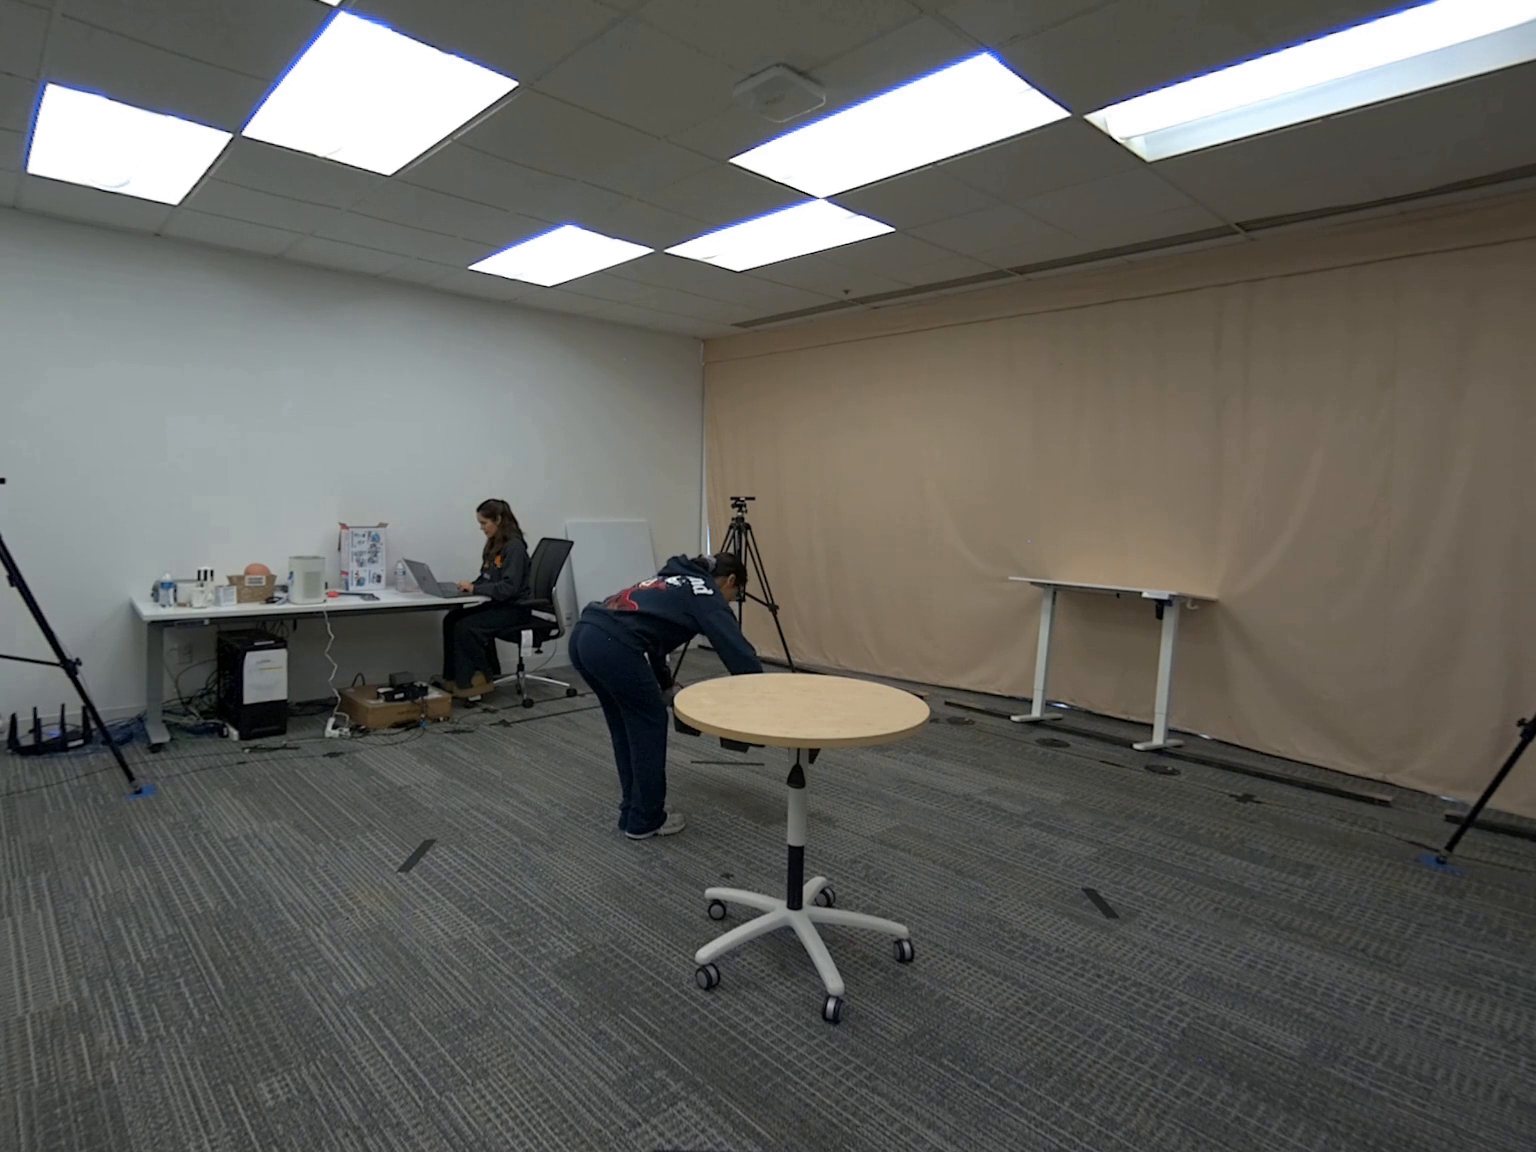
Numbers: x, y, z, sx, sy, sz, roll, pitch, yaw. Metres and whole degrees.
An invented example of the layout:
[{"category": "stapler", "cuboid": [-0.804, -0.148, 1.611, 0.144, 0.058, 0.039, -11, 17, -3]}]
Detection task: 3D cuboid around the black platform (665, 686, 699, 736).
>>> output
[{"category": "black platform", "cuboid": [-0.199, 0.663, 3.754, 0.588, 0.144, 0.824, 18, -10, -37]}]
